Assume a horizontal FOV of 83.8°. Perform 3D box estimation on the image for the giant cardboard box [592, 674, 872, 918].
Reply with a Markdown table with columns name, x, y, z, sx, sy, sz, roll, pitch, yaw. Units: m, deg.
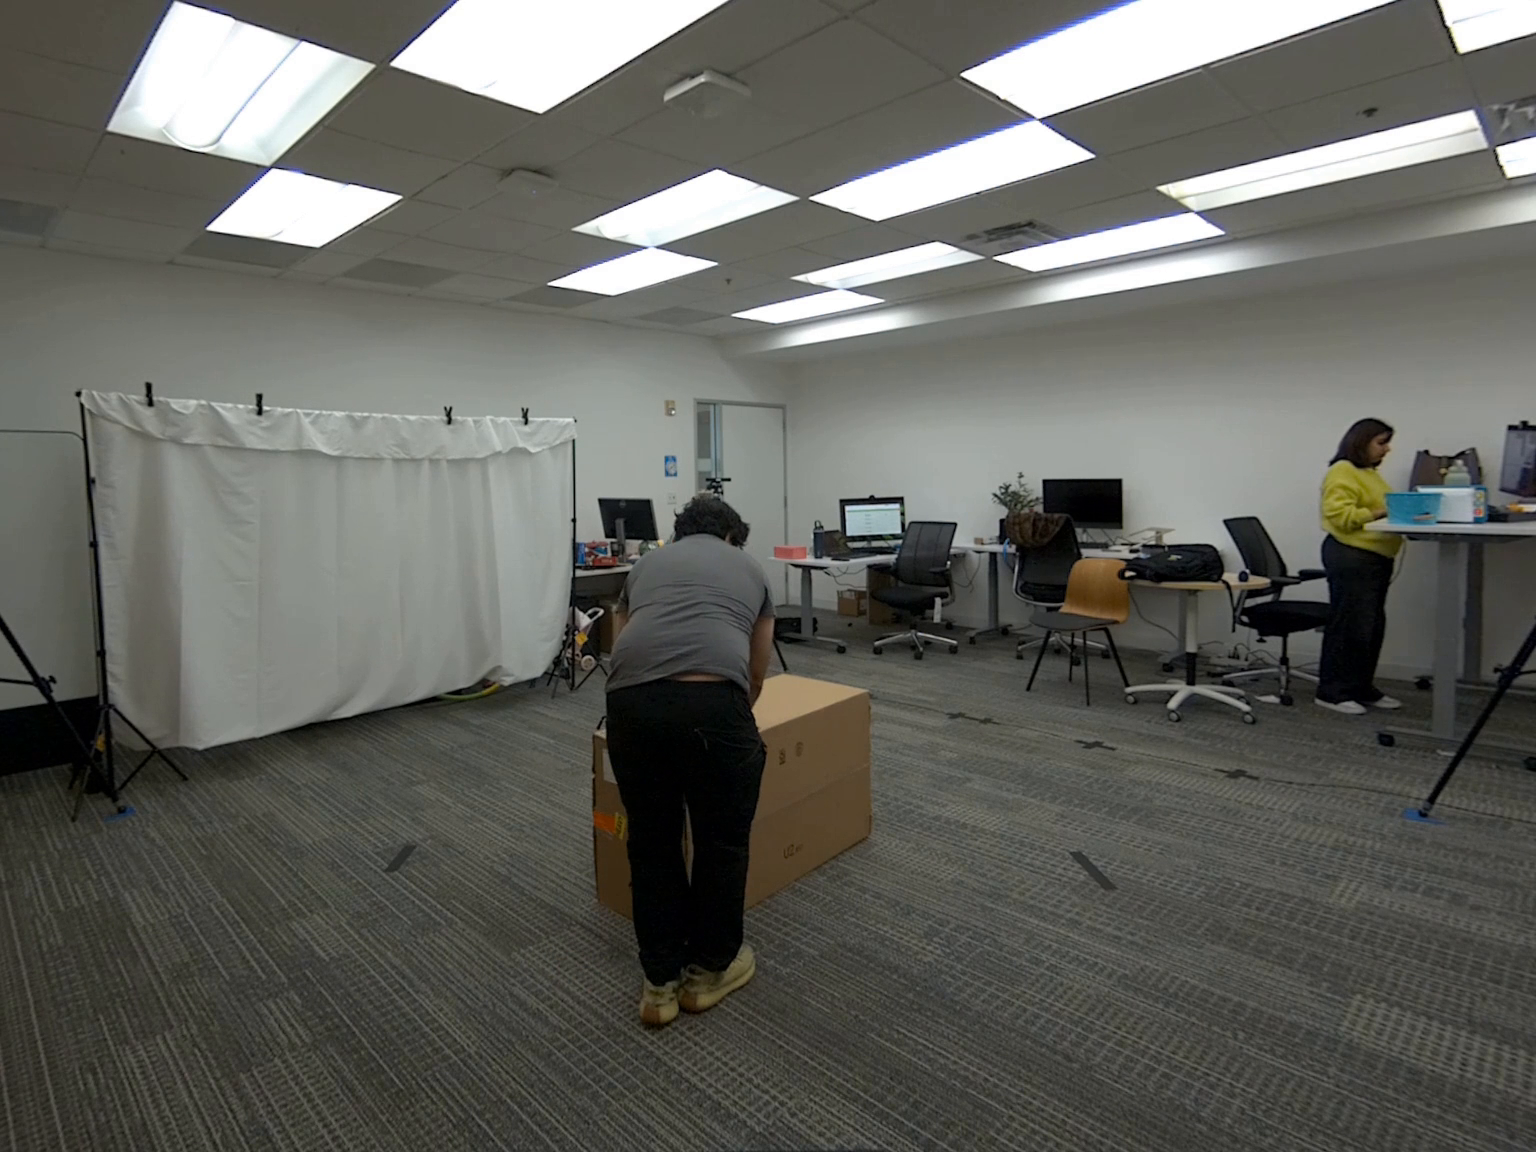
| name | x | y | z | sx | sy | sz | roll | pitch | yaw |
| --- | --- | --- | --- | --- | --- | --- | --- | --- | --- |
| giant cardboard box | -0.091 | 0.759 | 3.063 | 0.439 | 0.575 | 1.000 | 3 | 7 | 40 |
